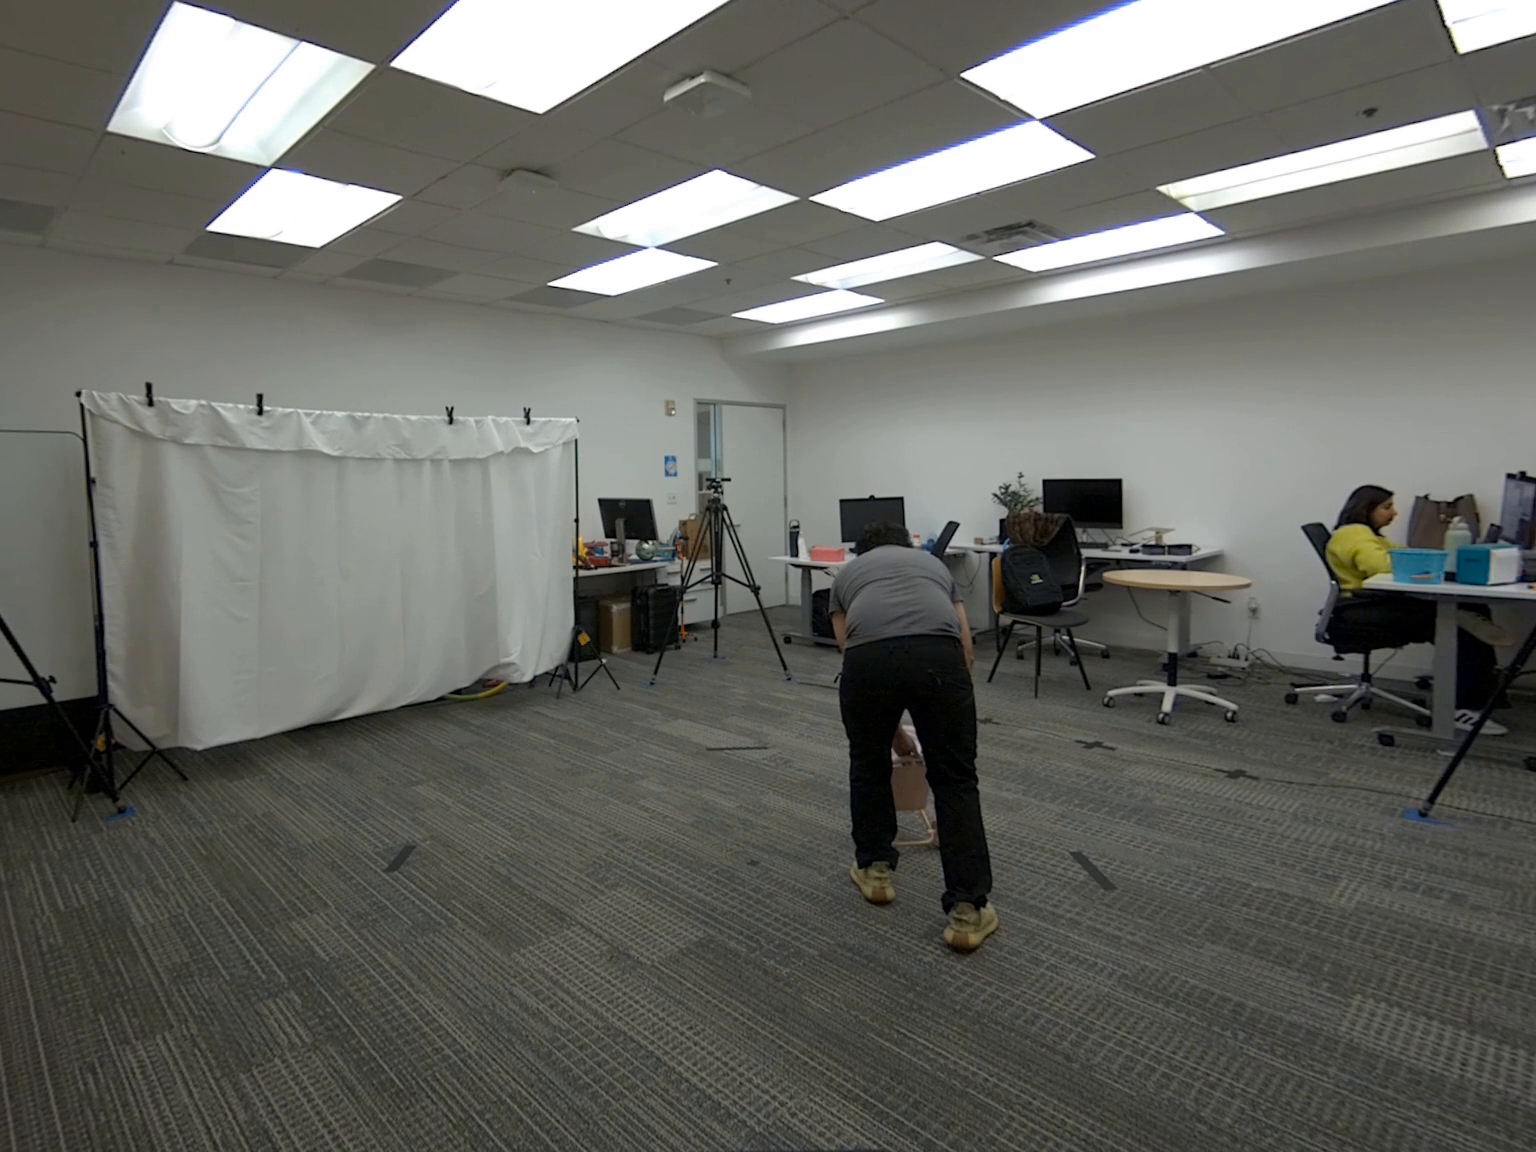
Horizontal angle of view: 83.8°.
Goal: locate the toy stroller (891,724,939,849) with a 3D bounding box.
[{"bbox_3d":[0.506,0.788,3.242,0.280,0.526,0.349,-1,21,-7],"label":"toy stroller"}]
